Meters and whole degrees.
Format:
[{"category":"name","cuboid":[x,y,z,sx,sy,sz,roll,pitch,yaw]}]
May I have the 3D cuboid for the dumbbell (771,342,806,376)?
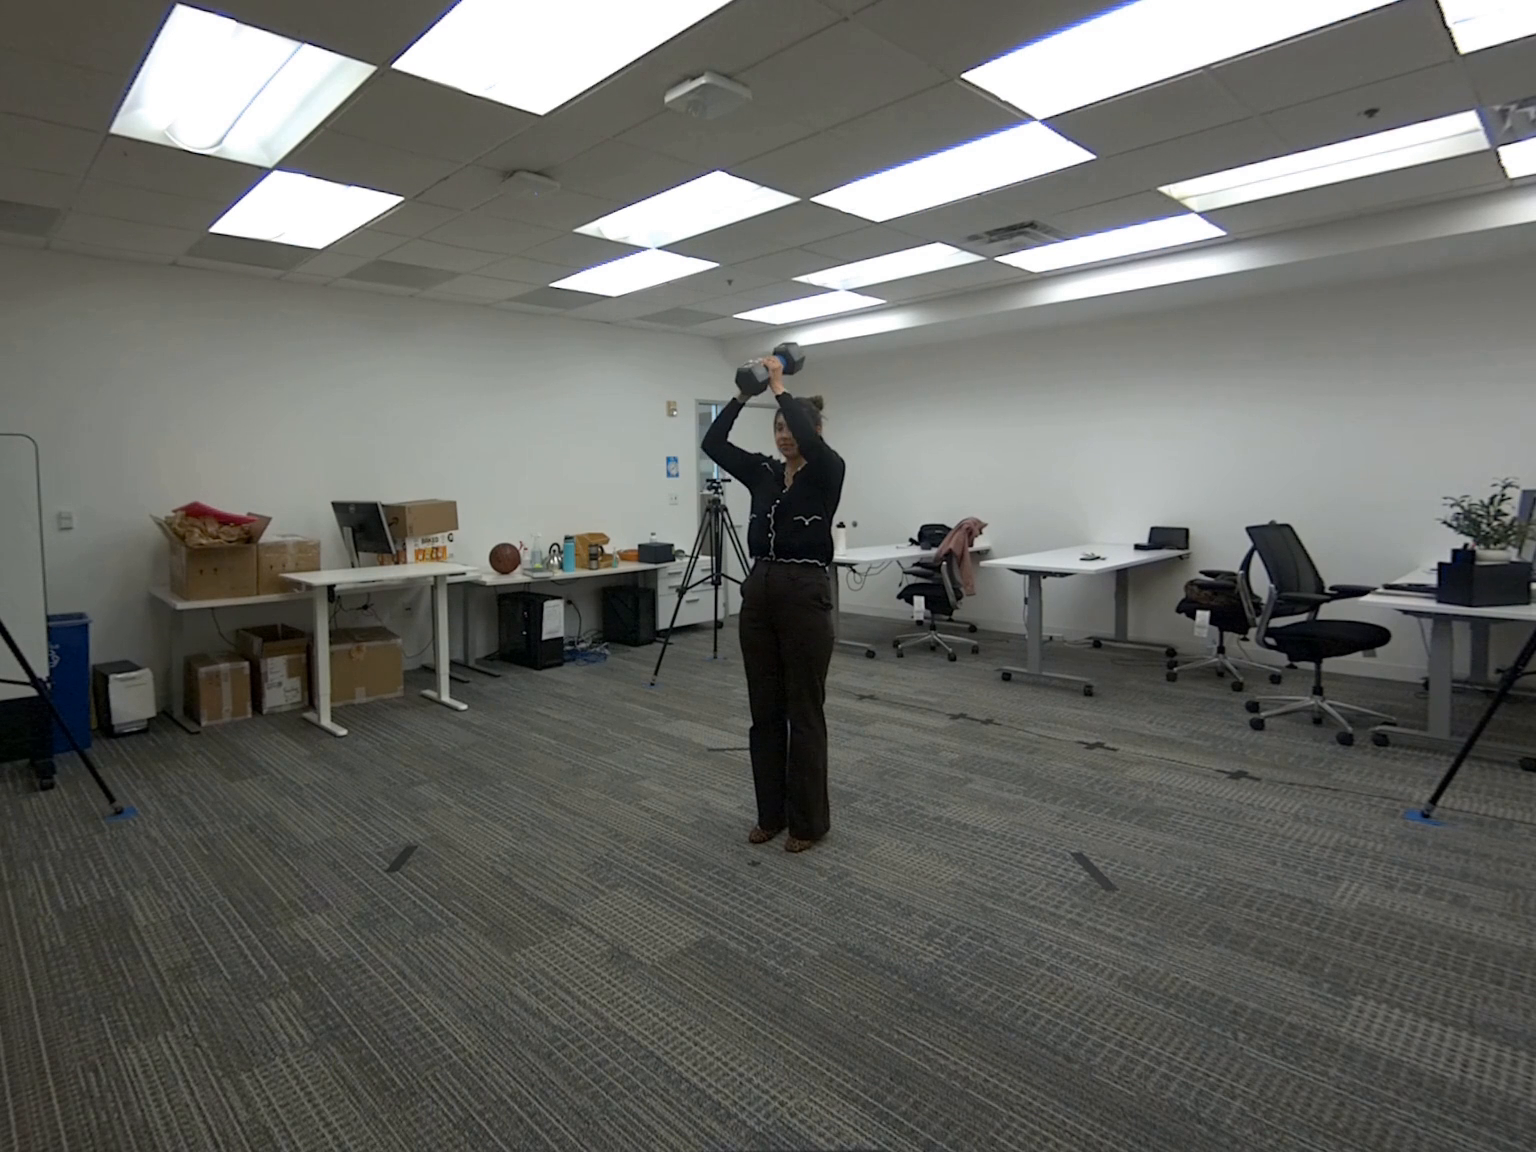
[{"category":"dumbbell","cuboid":[0.019,-0.763,3.133,0.292,0.122,0.110,-39,8,-38]}]
